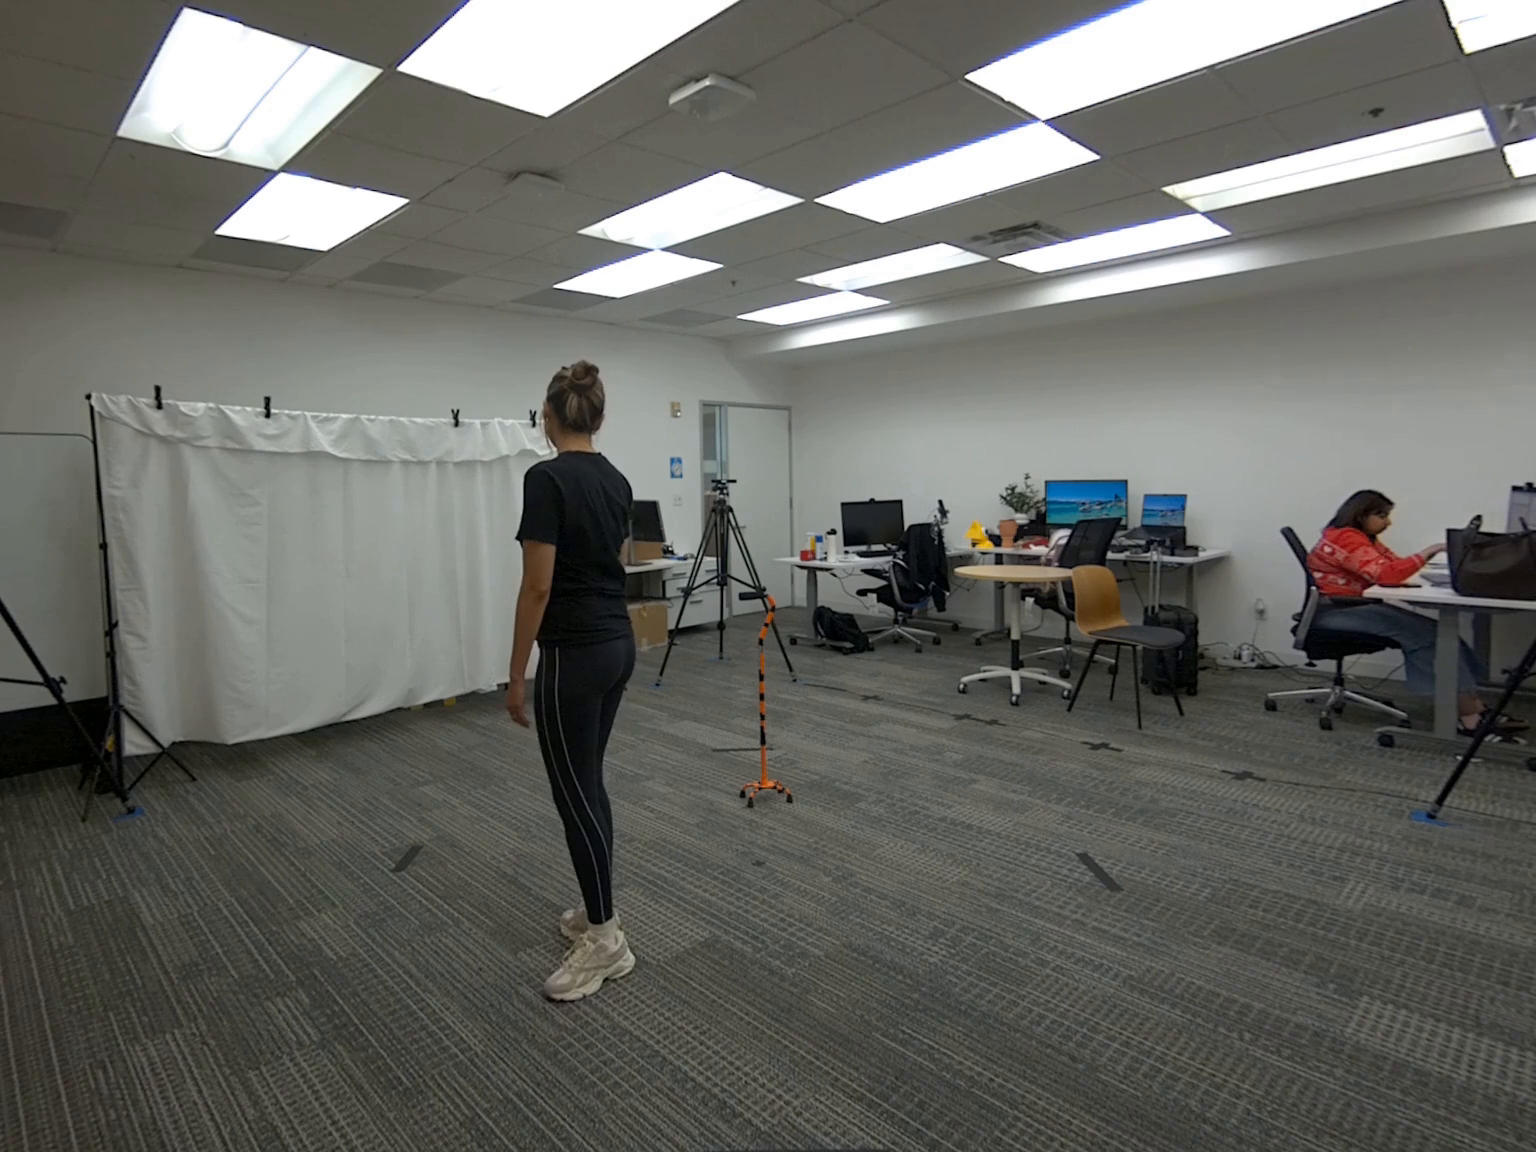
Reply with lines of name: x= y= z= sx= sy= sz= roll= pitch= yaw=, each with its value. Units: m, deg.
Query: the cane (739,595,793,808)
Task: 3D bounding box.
cane: x=-0.020 y=0.525 z=3.711 sx=0.204 sy=0.905 sz=0.154 roll=-2 pitch=3 yaw=-15
